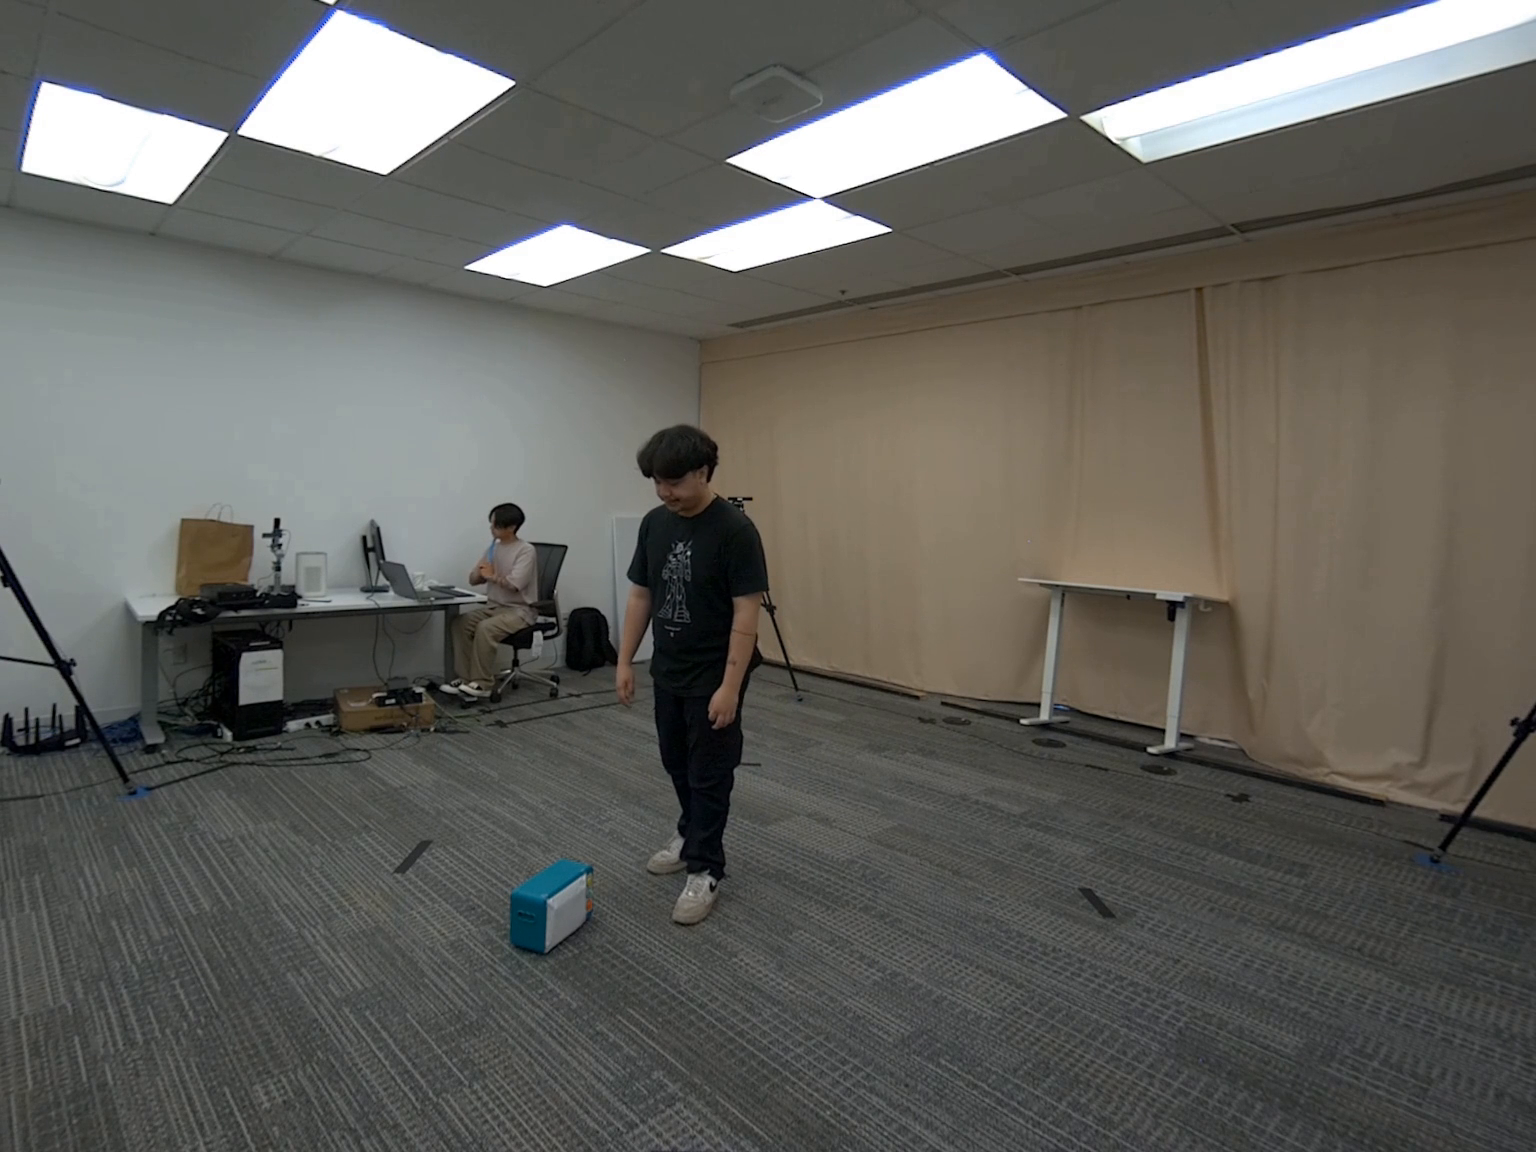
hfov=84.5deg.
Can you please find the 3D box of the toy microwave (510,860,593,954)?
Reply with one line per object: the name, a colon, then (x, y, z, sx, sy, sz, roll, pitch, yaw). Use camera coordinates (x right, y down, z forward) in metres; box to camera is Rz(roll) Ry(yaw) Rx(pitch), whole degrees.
toy microwave: (-0.680, 1.044, 2.666, 0.155, 0.183, 0.282, 3, 5, 22)
